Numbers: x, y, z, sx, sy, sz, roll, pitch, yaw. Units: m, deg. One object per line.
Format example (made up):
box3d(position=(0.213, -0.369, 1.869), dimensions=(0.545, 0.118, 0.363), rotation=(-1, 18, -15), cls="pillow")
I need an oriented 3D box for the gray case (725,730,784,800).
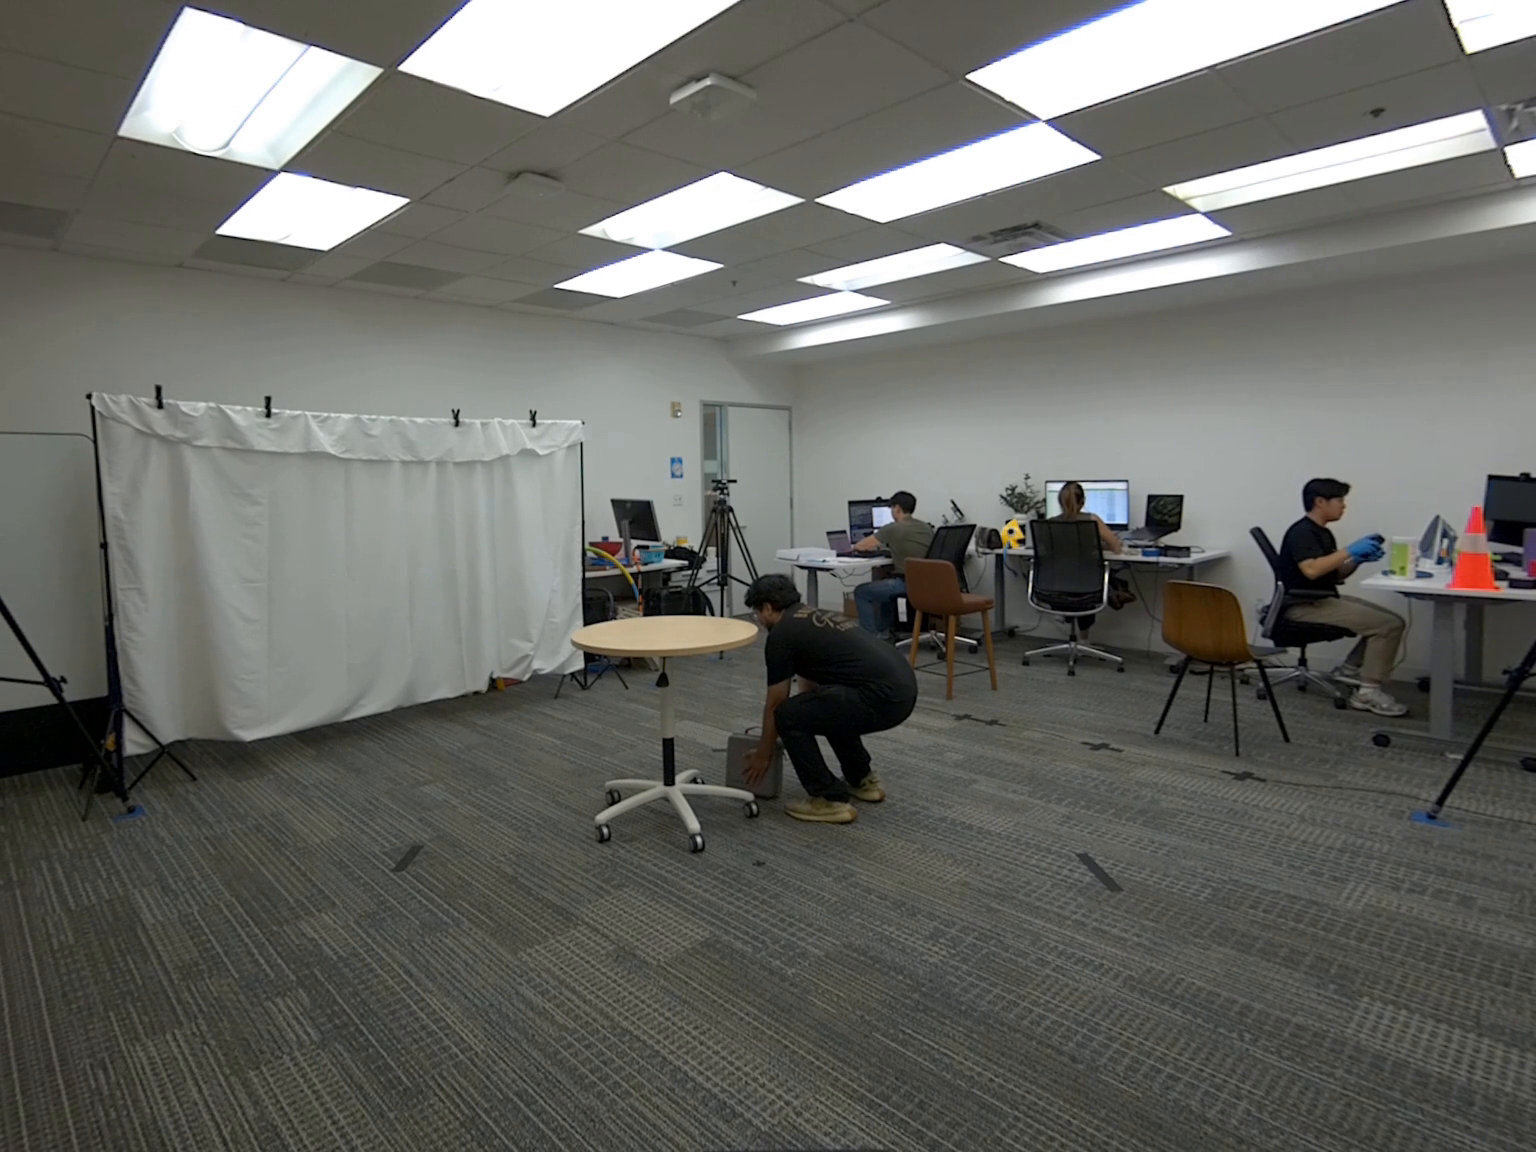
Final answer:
box3d(position=(-0.060, 0.837, 3.821), dimensions=(0.264, 0.261, 0.101), rotation=(1, -5, 32), cls="gray case")
